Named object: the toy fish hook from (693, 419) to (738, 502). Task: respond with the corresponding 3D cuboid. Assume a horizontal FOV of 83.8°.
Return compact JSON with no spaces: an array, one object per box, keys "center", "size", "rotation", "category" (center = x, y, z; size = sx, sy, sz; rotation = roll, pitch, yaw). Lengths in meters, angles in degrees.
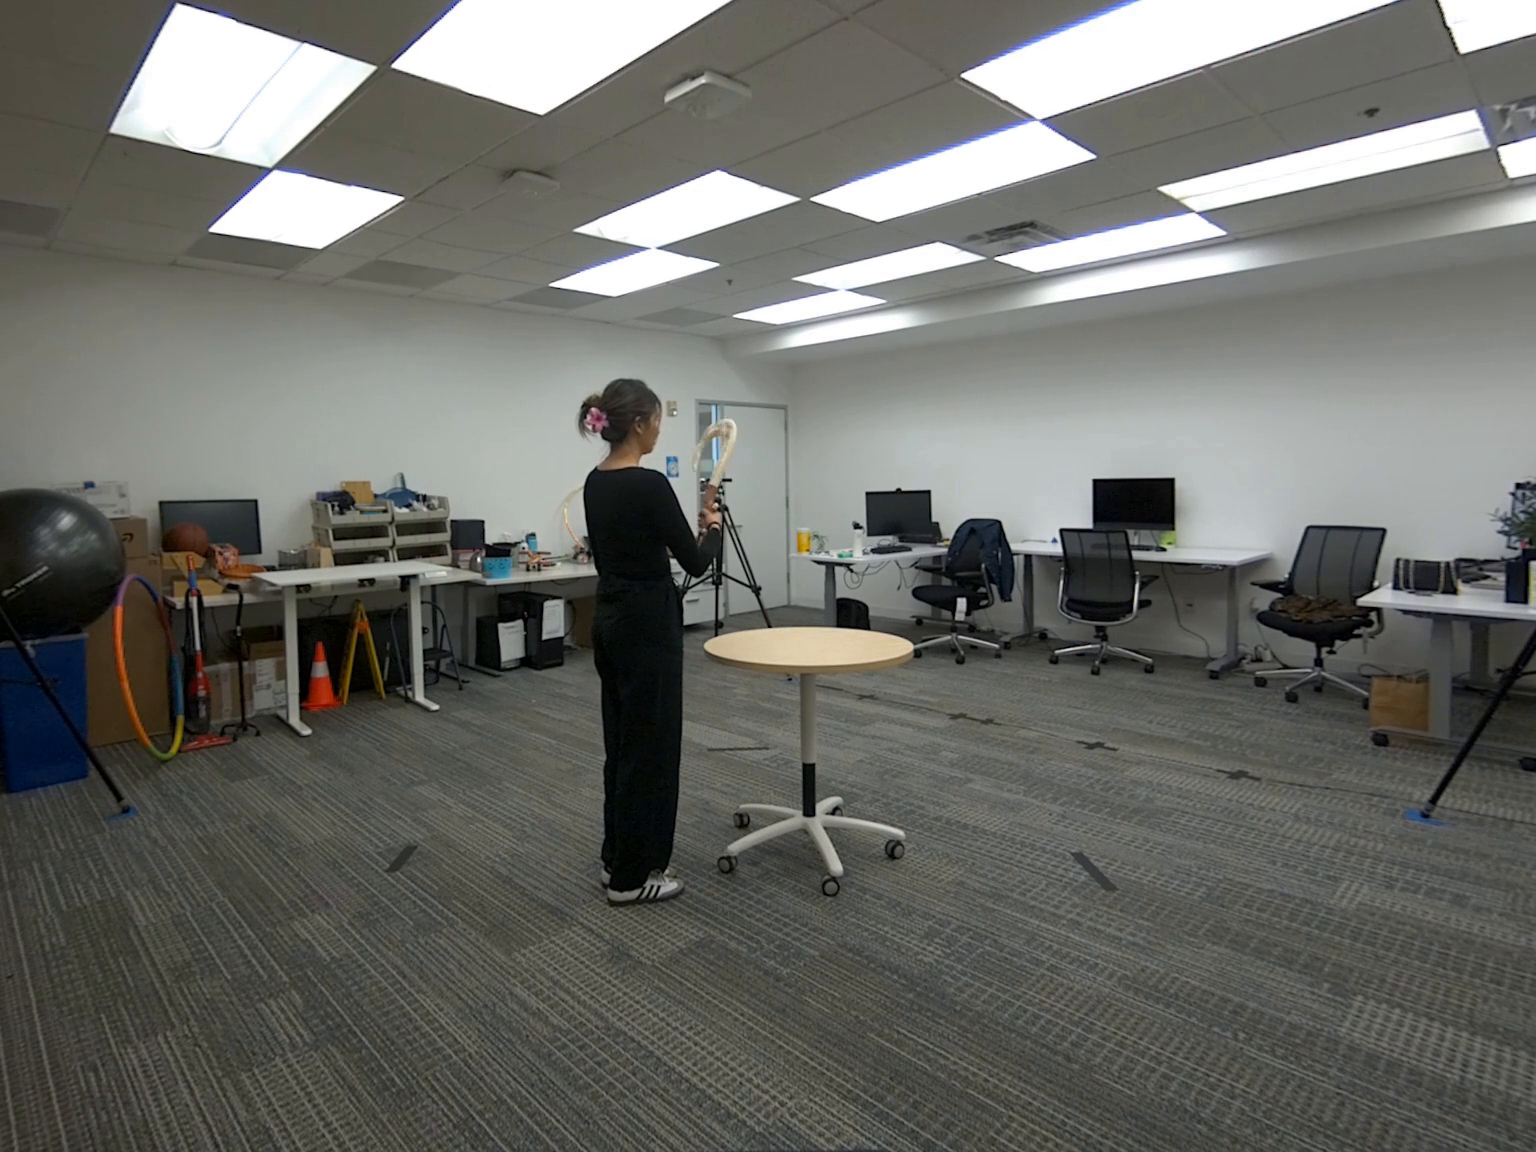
[{"center":[-0.220,-0.354,3.144],"size":[0.047,0.515,0.229],"rotation":[30,-31,-33],"category":"toy fish hook"}]
